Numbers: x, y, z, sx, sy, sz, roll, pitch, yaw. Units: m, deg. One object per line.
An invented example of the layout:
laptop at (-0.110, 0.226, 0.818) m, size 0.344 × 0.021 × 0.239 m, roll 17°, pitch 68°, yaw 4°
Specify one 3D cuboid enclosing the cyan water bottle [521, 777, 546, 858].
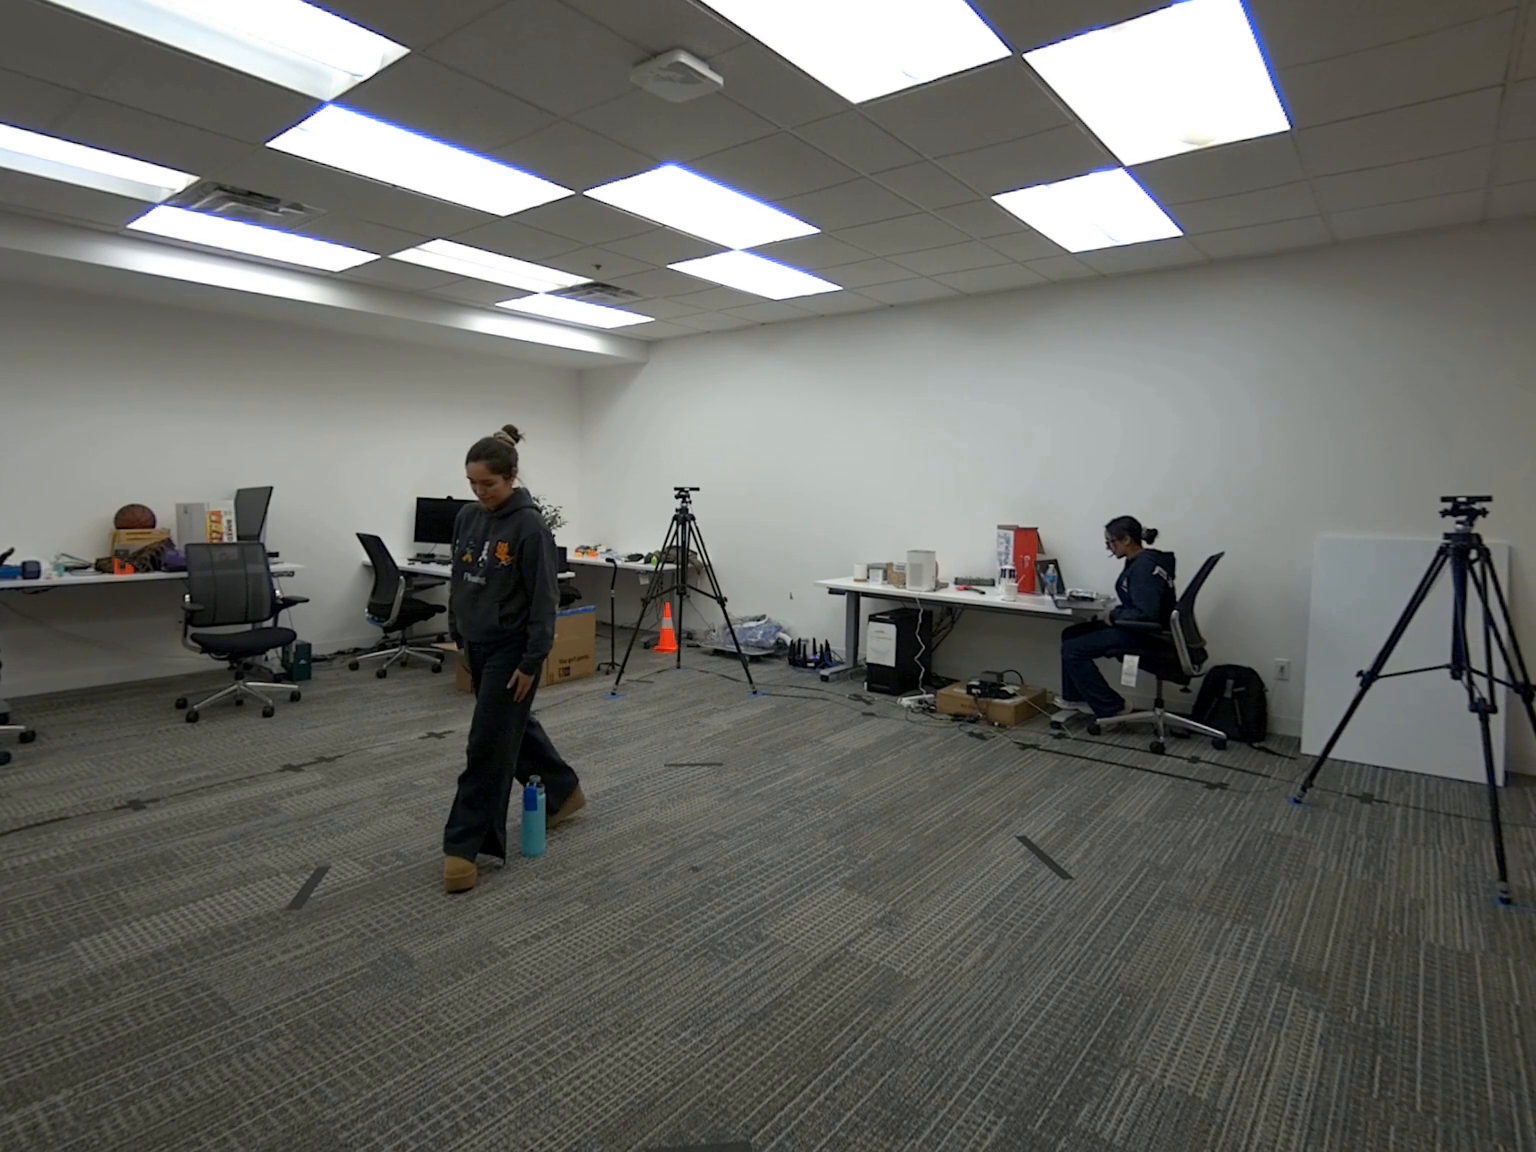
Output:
cyan water bottle at (-0.897, 0.907, 3.216) m, size 0.092 × 0.282 × 0.093 m, roll 1°, pitch 5°, yaw -2°
